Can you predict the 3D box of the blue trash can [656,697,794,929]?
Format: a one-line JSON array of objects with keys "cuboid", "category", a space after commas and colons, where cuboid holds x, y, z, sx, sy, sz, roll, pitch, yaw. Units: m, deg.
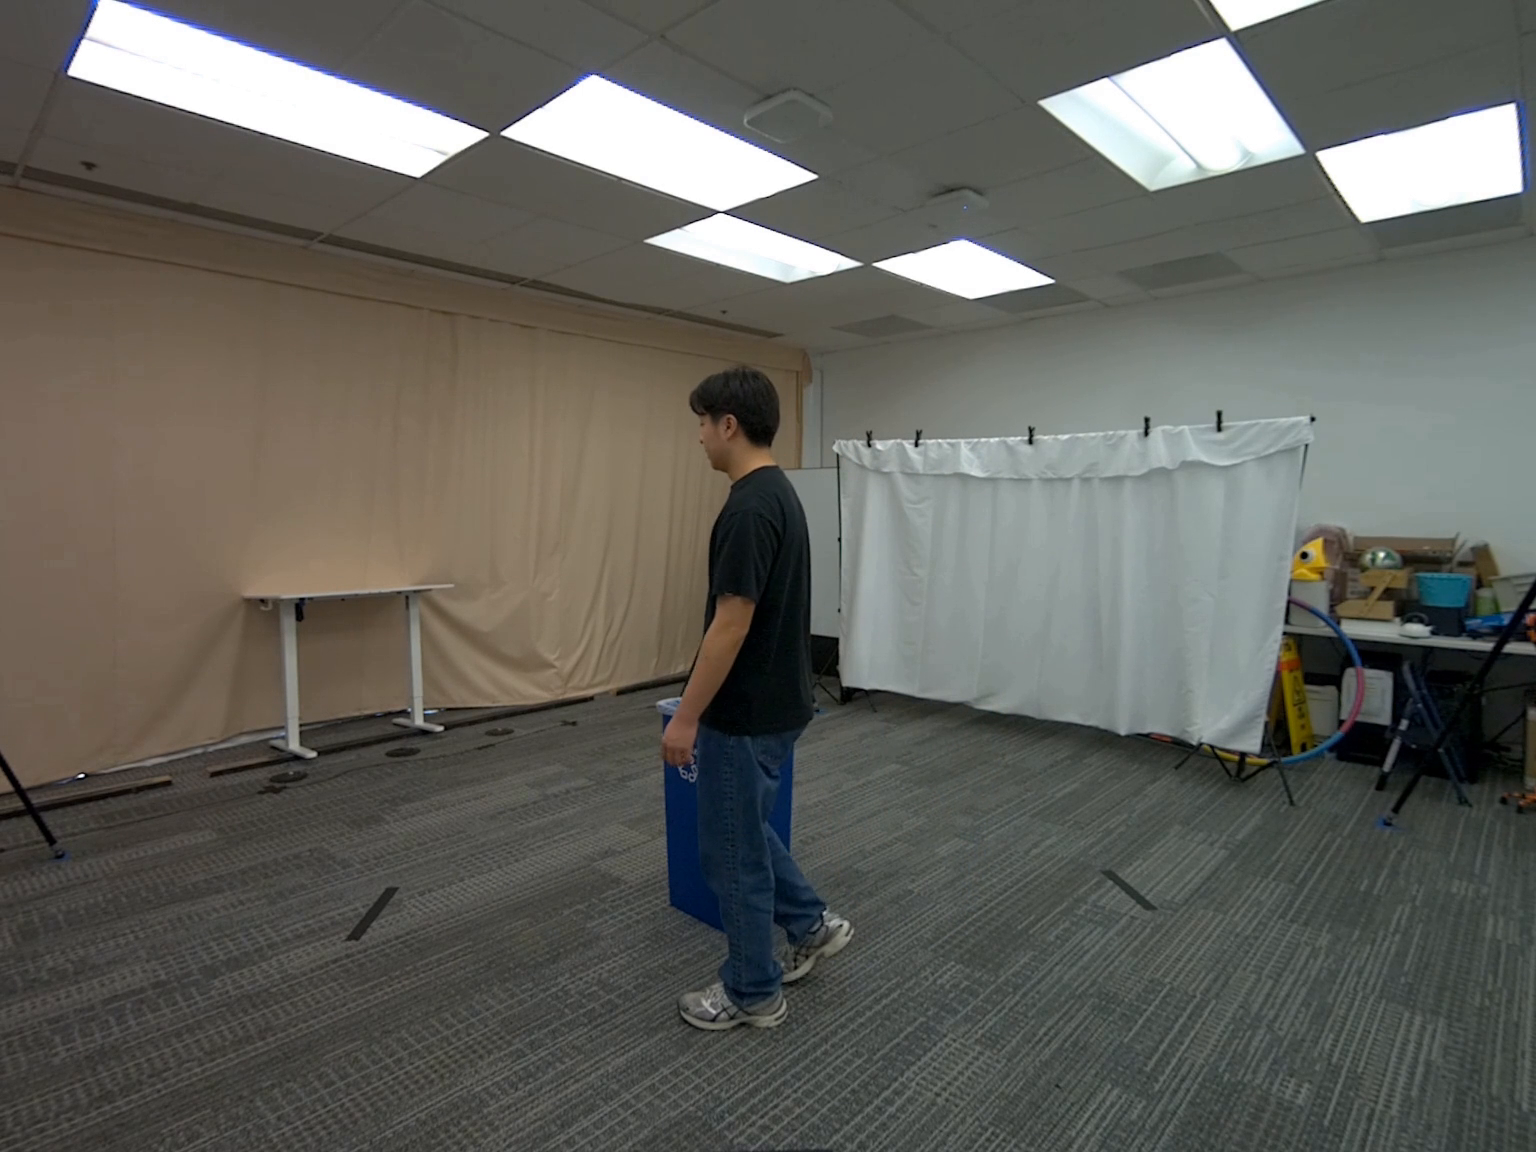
[{"cuboid": [-0.129, 0.788, 2.920, 0.386, 0.712, 0.366, 2, 4, 44], "category": "blue trash can"}]
